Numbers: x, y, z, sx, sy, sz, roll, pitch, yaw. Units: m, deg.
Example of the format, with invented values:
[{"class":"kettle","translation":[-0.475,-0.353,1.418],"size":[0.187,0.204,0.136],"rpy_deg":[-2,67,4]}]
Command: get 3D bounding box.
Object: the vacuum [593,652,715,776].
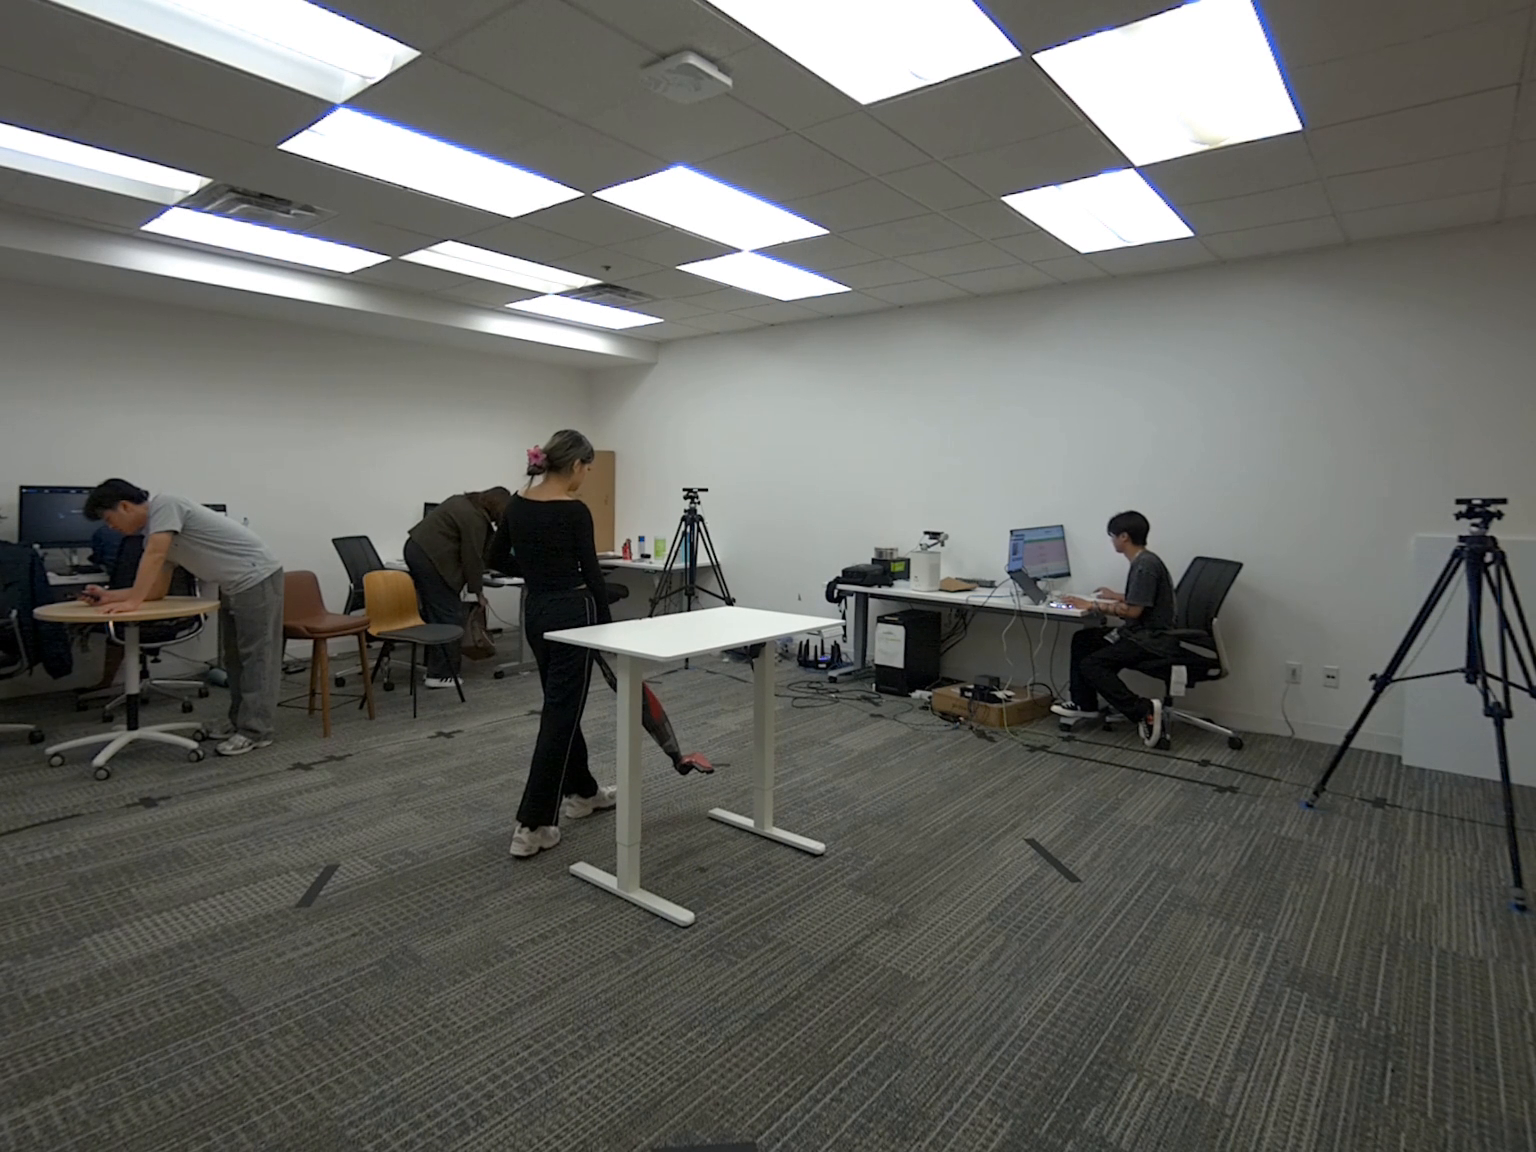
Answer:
[{"class":"vacuum","translation":[-0.628,0.415,3.589],"size":[0.143,1.034,0.257],"rpy_deg":[-38,11,-12]}]
